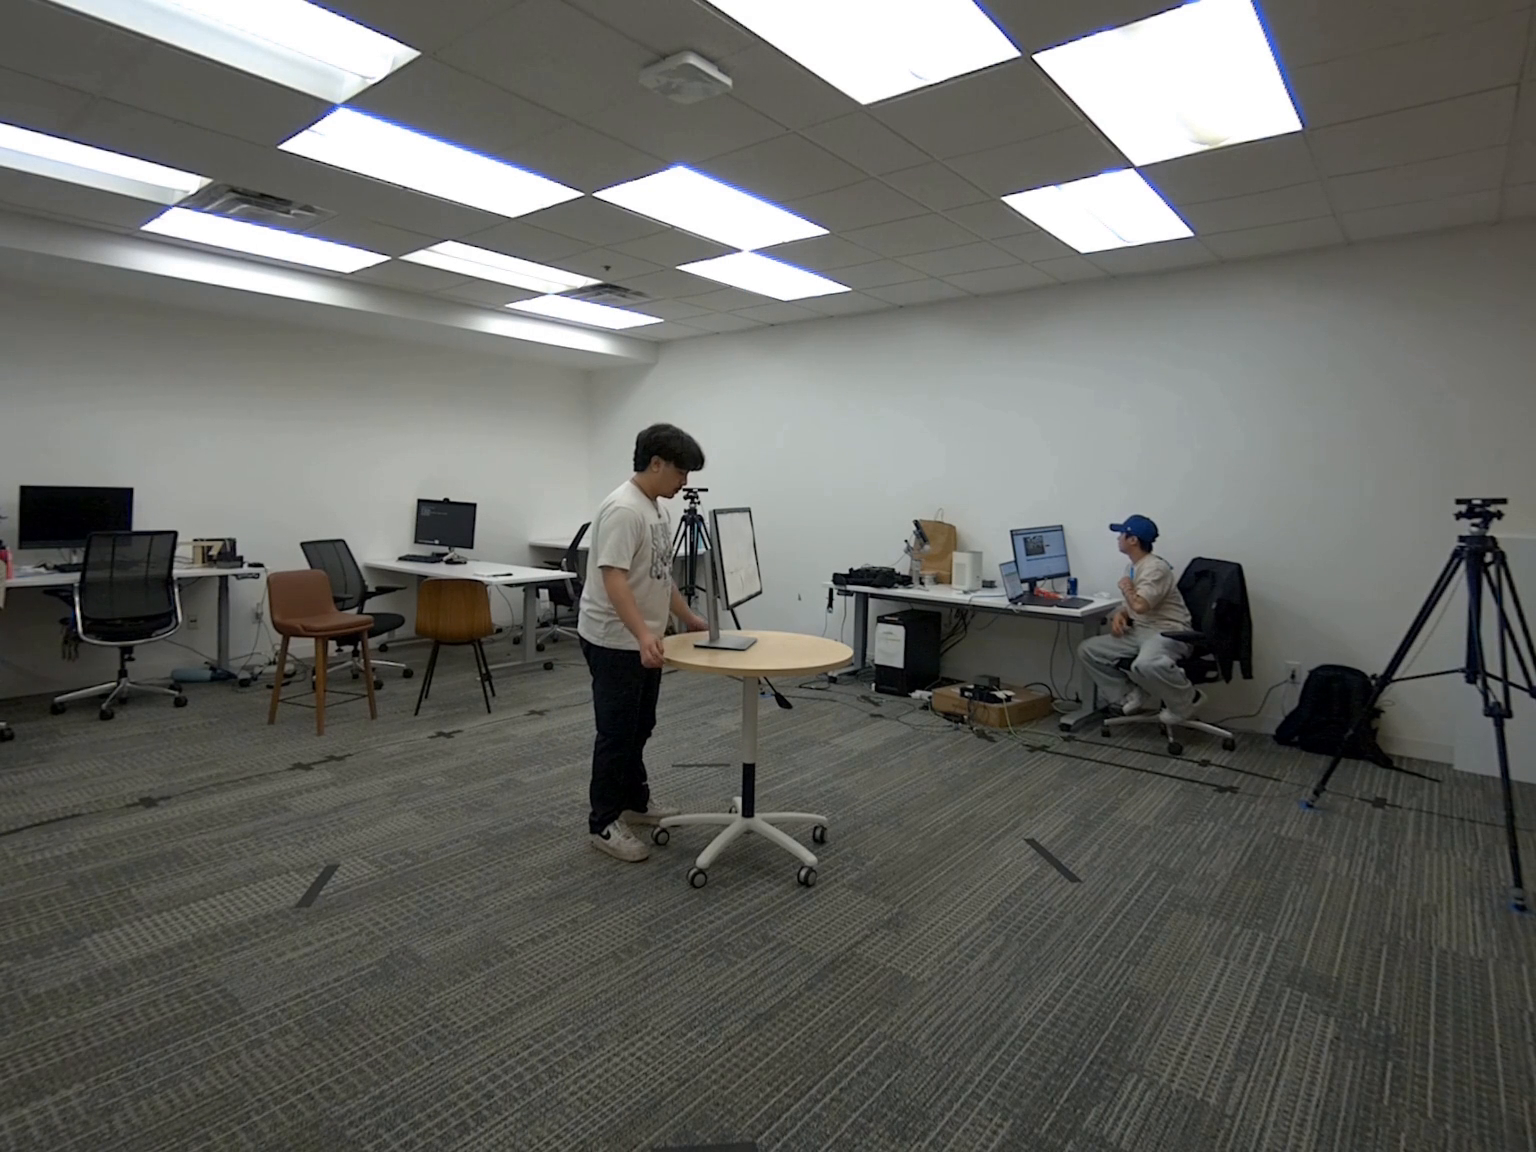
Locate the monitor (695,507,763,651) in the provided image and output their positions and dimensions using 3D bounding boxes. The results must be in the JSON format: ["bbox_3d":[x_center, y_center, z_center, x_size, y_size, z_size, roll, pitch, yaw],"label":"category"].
[{"bbox_3d":[-0.191,0.006,3.302,0.213,0.553,0.558,-2,3,14],"label":"monitor"}]
